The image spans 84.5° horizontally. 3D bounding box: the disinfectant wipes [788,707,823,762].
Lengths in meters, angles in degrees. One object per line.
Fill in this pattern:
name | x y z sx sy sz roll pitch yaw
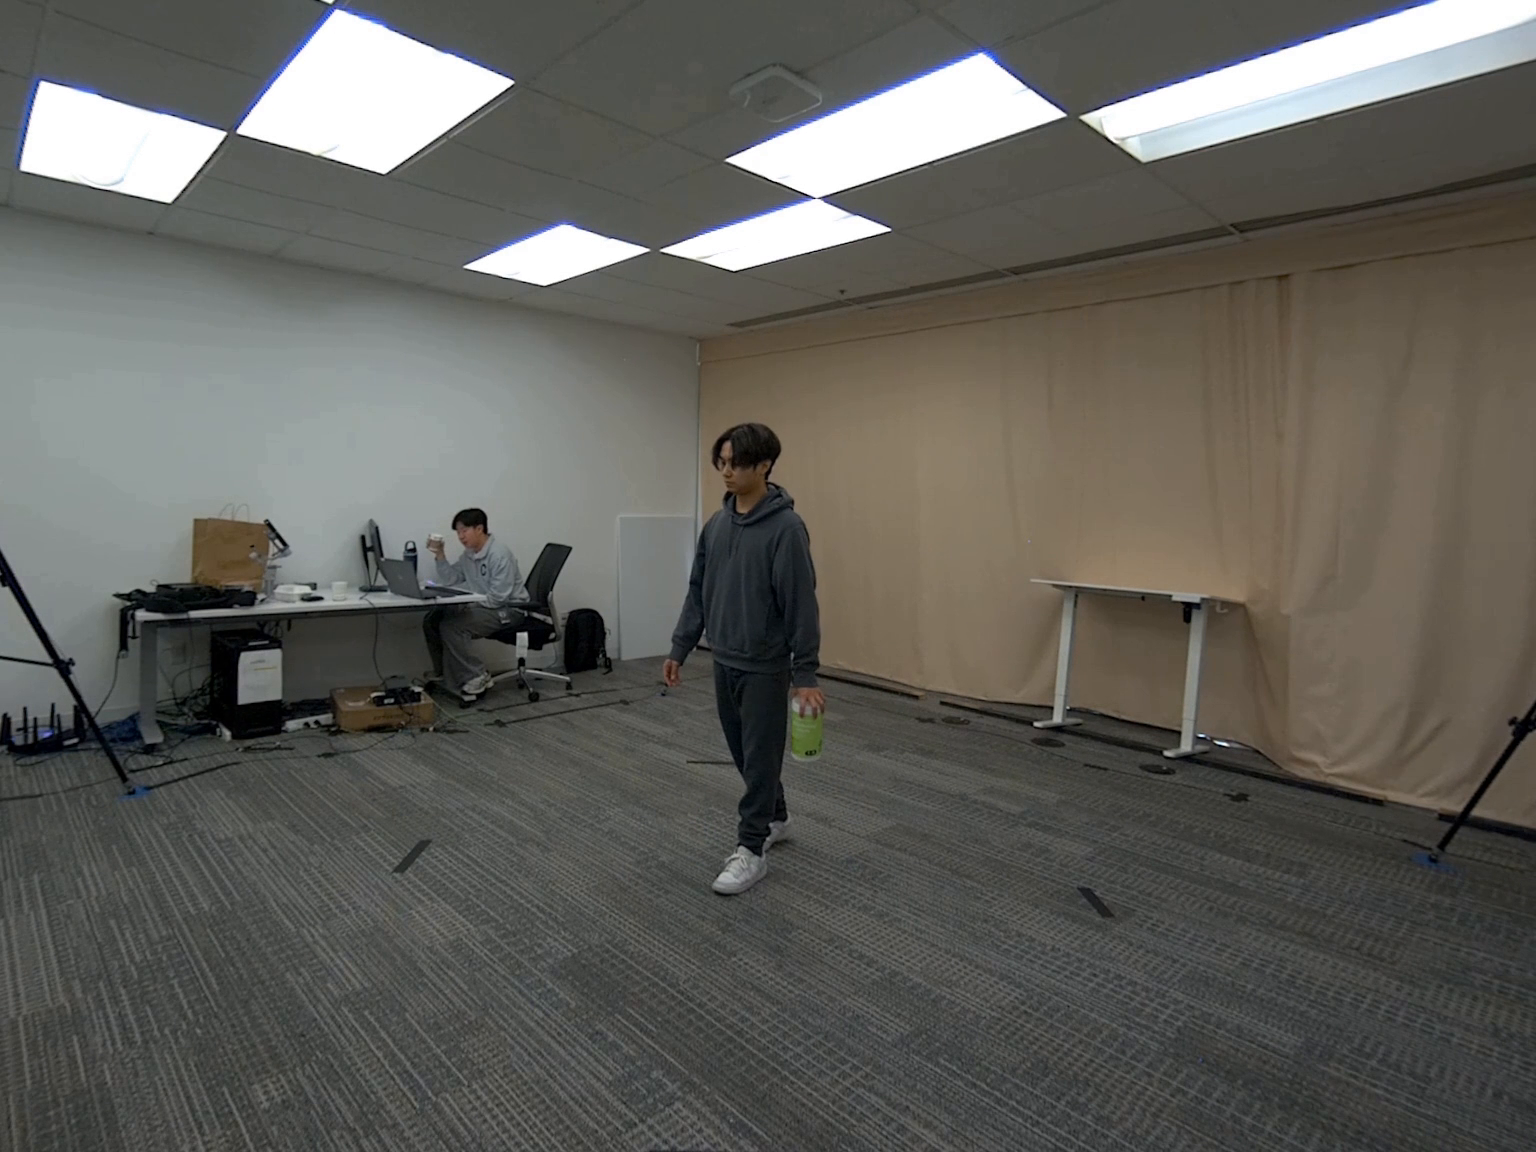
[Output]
disinfectant wipes | 0.126 0.533 2.961 0.118 0.215 0.119 0 12 -1
